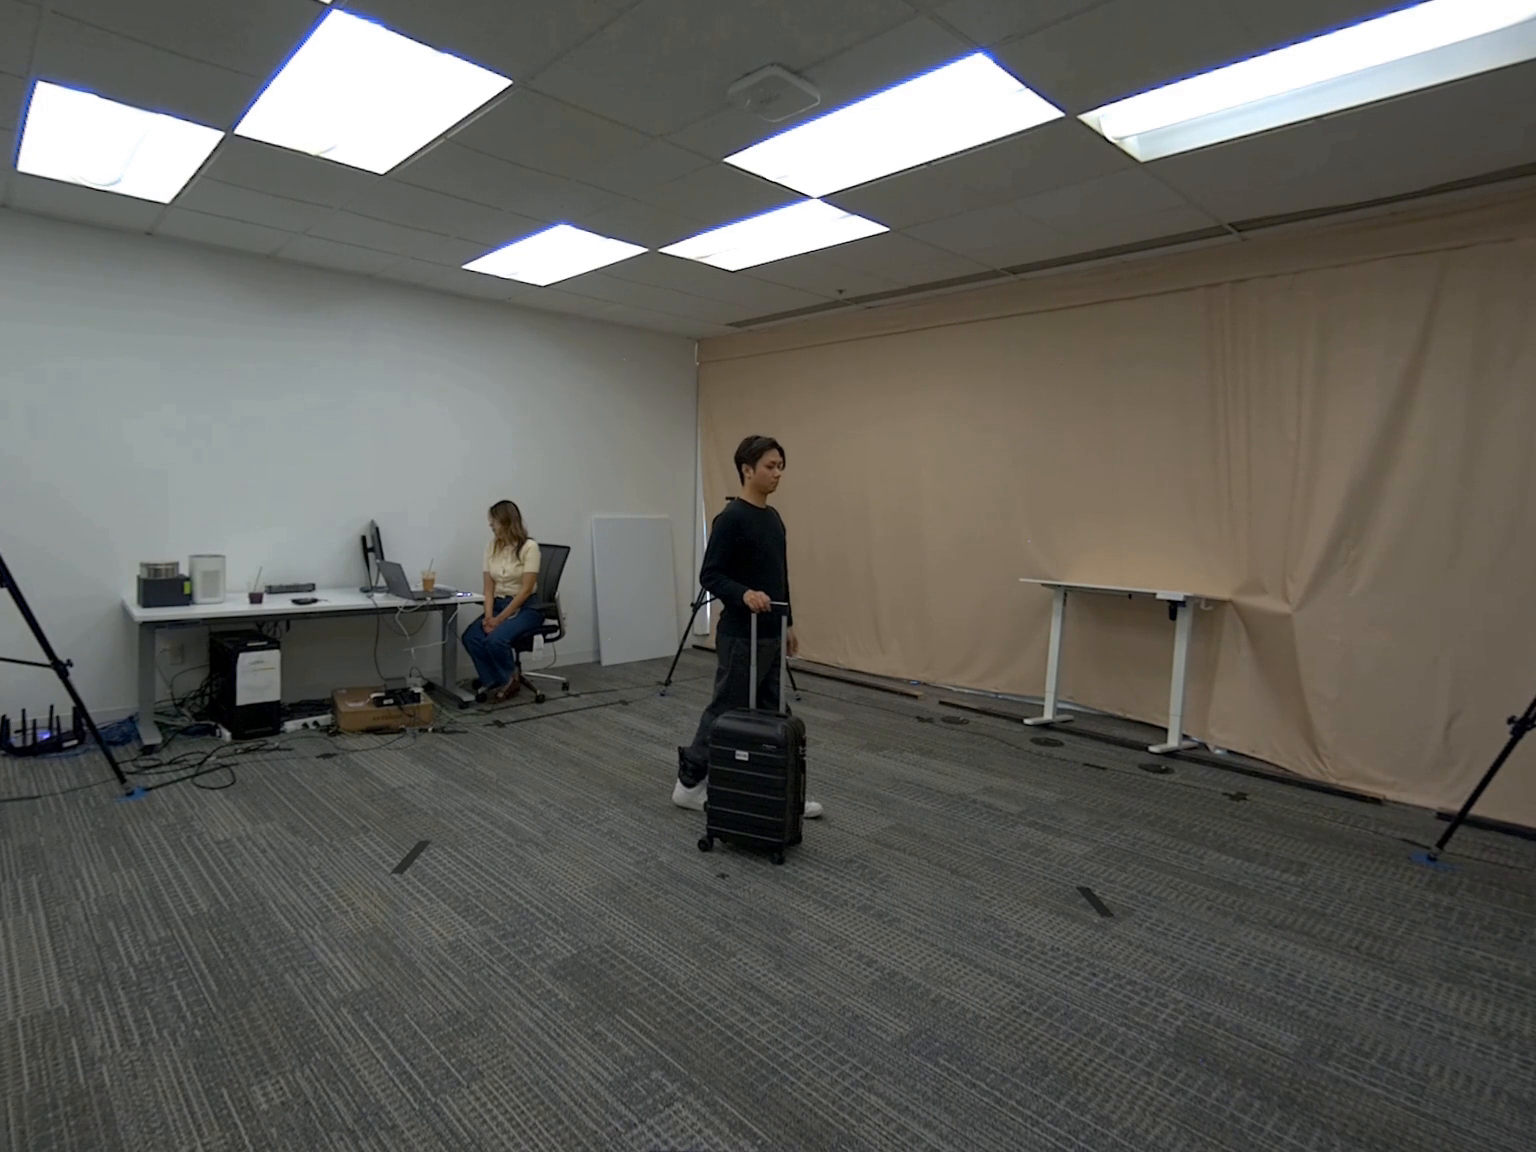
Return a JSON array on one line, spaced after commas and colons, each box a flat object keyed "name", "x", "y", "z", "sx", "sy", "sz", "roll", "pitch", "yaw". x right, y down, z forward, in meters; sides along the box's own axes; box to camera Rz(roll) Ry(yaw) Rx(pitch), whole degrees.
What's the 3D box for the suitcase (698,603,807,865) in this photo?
[{"name": "suitcase", "x": -0.053, "y": 0.614, "z": 3.317, "sx": 0.391, "sy": 0.974, "sz": 0.254, "roll": 3, "pitch": 7, "yaw": 22}]
